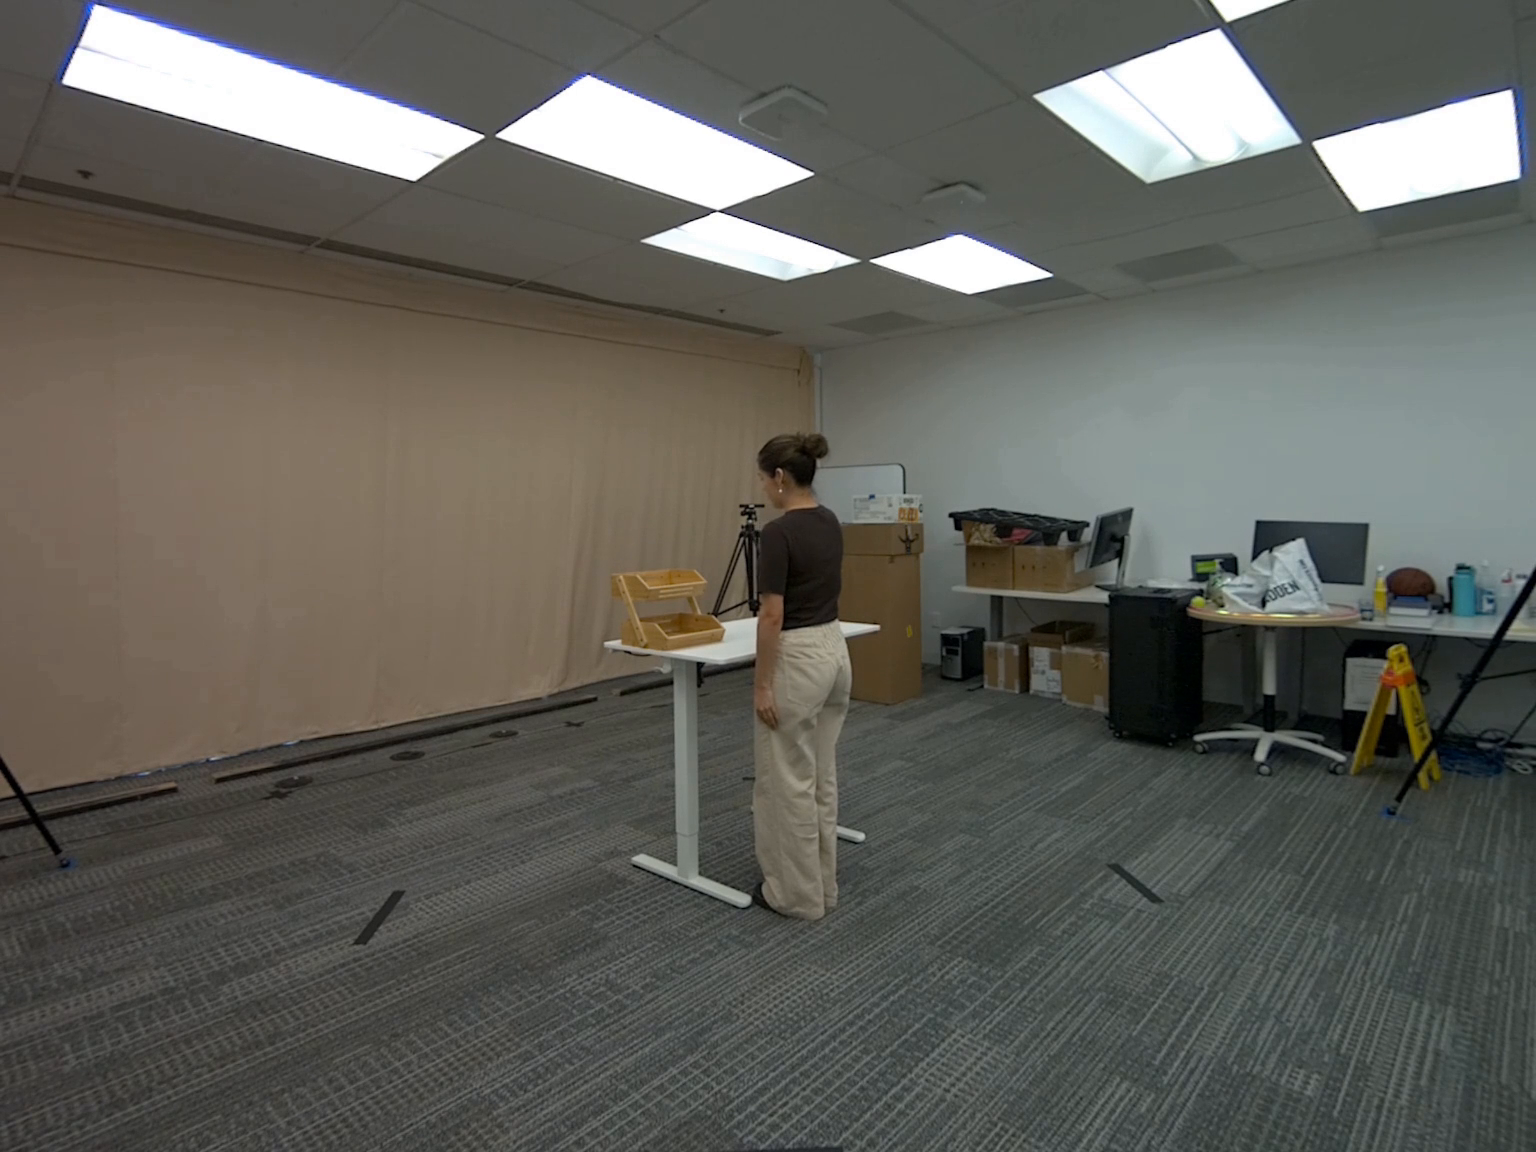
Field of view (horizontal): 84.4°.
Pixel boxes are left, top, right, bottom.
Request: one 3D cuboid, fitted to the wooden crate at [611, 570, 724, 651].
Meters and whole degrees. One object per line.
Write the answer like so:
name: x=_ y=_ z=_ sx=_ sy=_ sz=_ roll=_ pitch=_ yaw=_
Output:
wooden crate: x=-0.366 y=0.115 z=3.142 sx=0.312 sy=0.273 sz=0.314 roll=1 pitch=4 yaw=41
